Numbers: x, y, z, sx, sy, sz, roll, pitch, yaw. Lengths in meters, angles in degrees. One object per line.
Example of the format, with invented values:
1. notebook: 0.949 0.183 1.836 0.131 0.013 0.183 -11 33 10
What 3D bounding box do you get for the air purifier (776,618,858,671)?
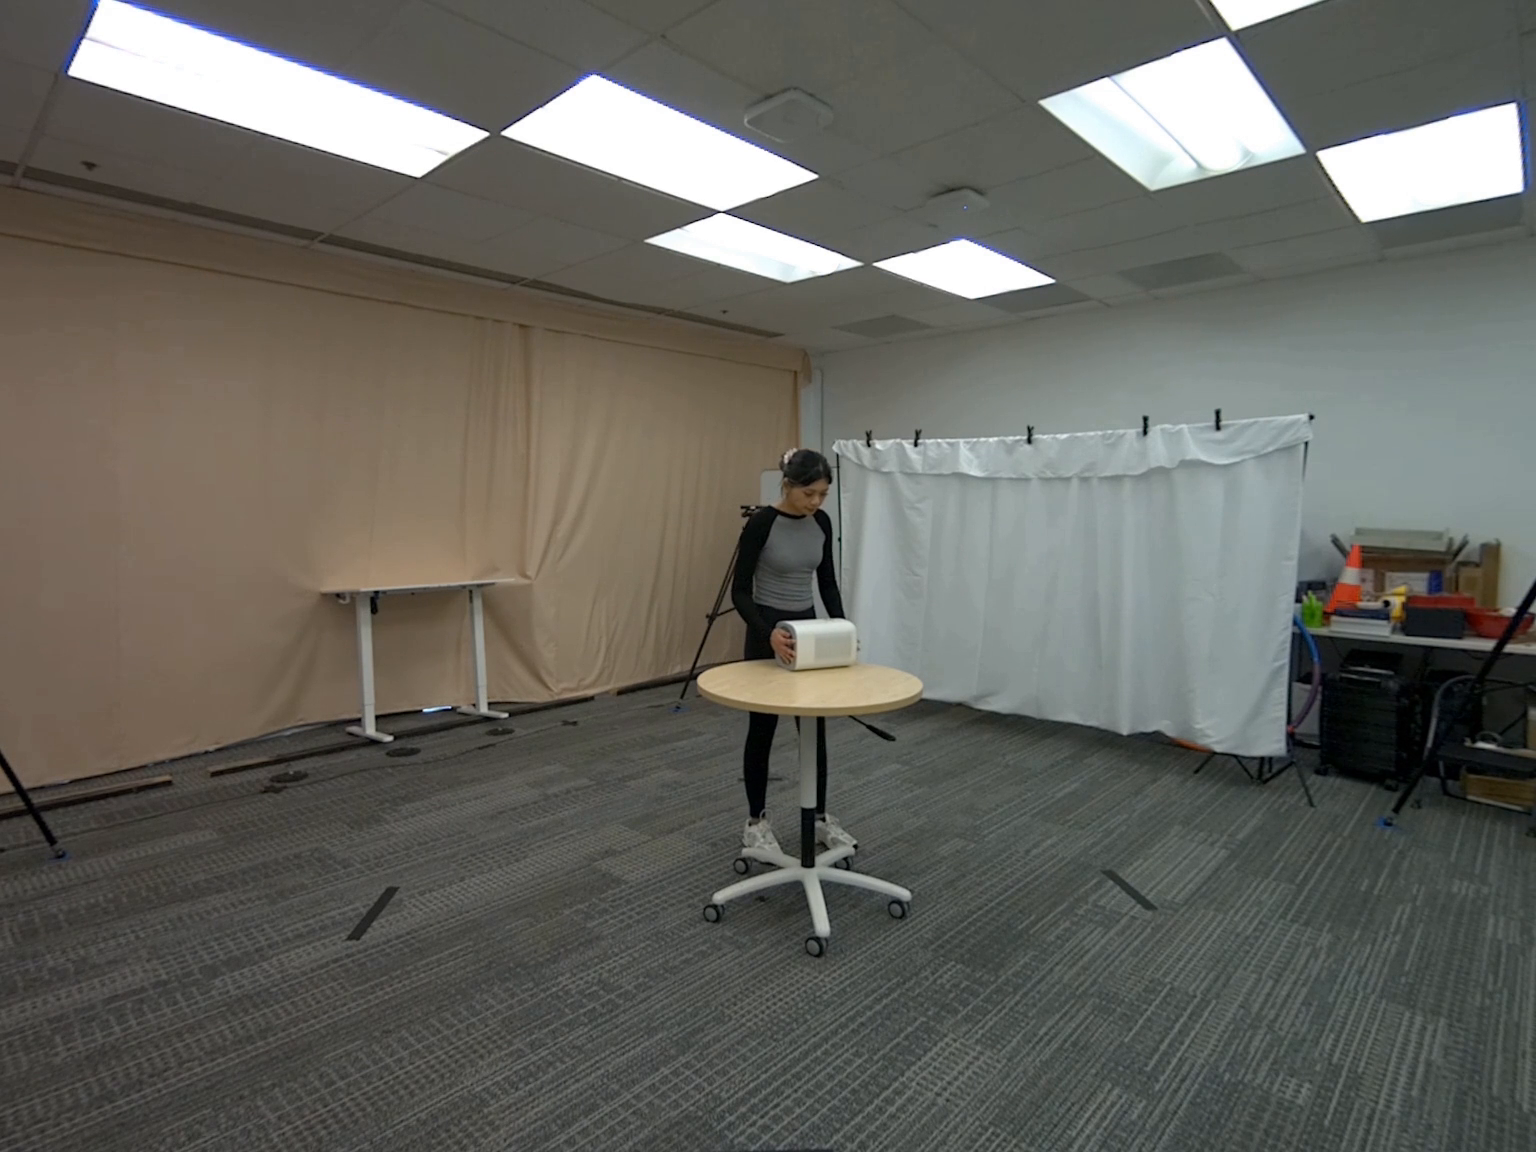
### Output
1. air purifier: 0.183 0.250 3.117 0.259 0.171 0.175 -1 4 -23
